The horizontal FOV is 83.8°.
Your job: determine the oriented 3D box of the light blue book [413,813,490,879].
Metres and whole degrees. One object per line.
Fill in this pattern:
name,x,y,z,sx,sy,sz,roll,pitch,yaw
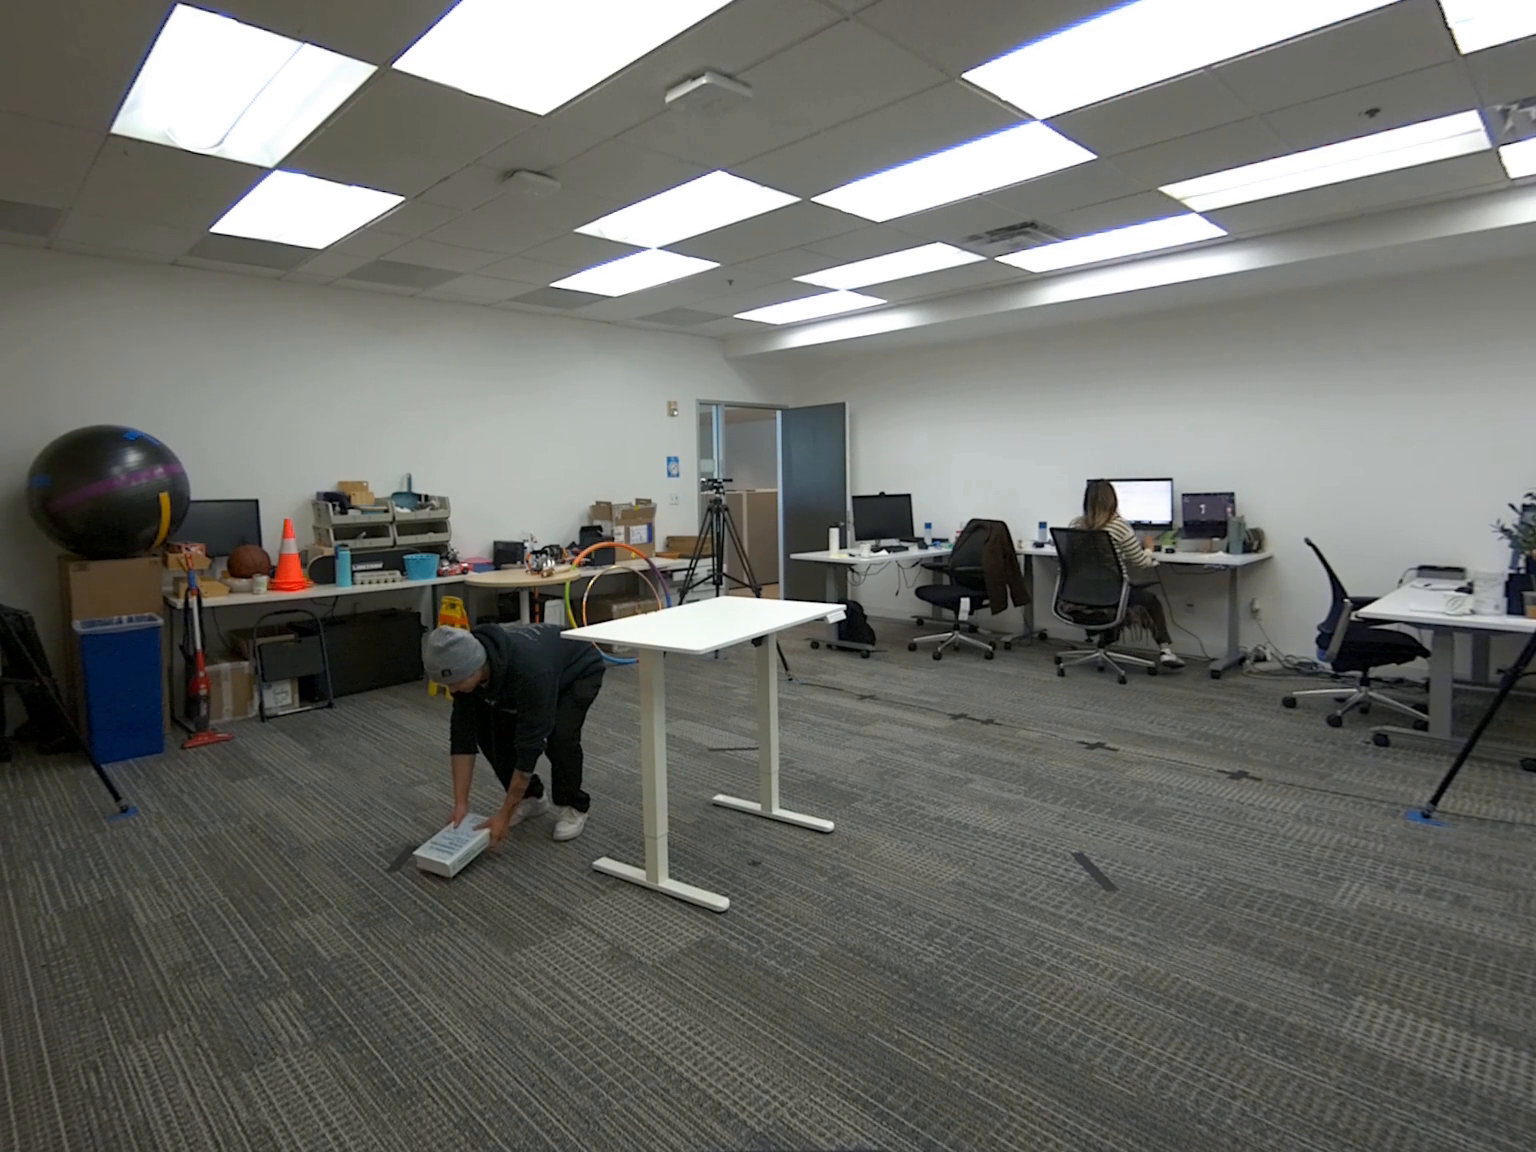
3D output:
light blue book,-1.137,0.982,3.138,0.196,0.058,0.258,2,20,30
